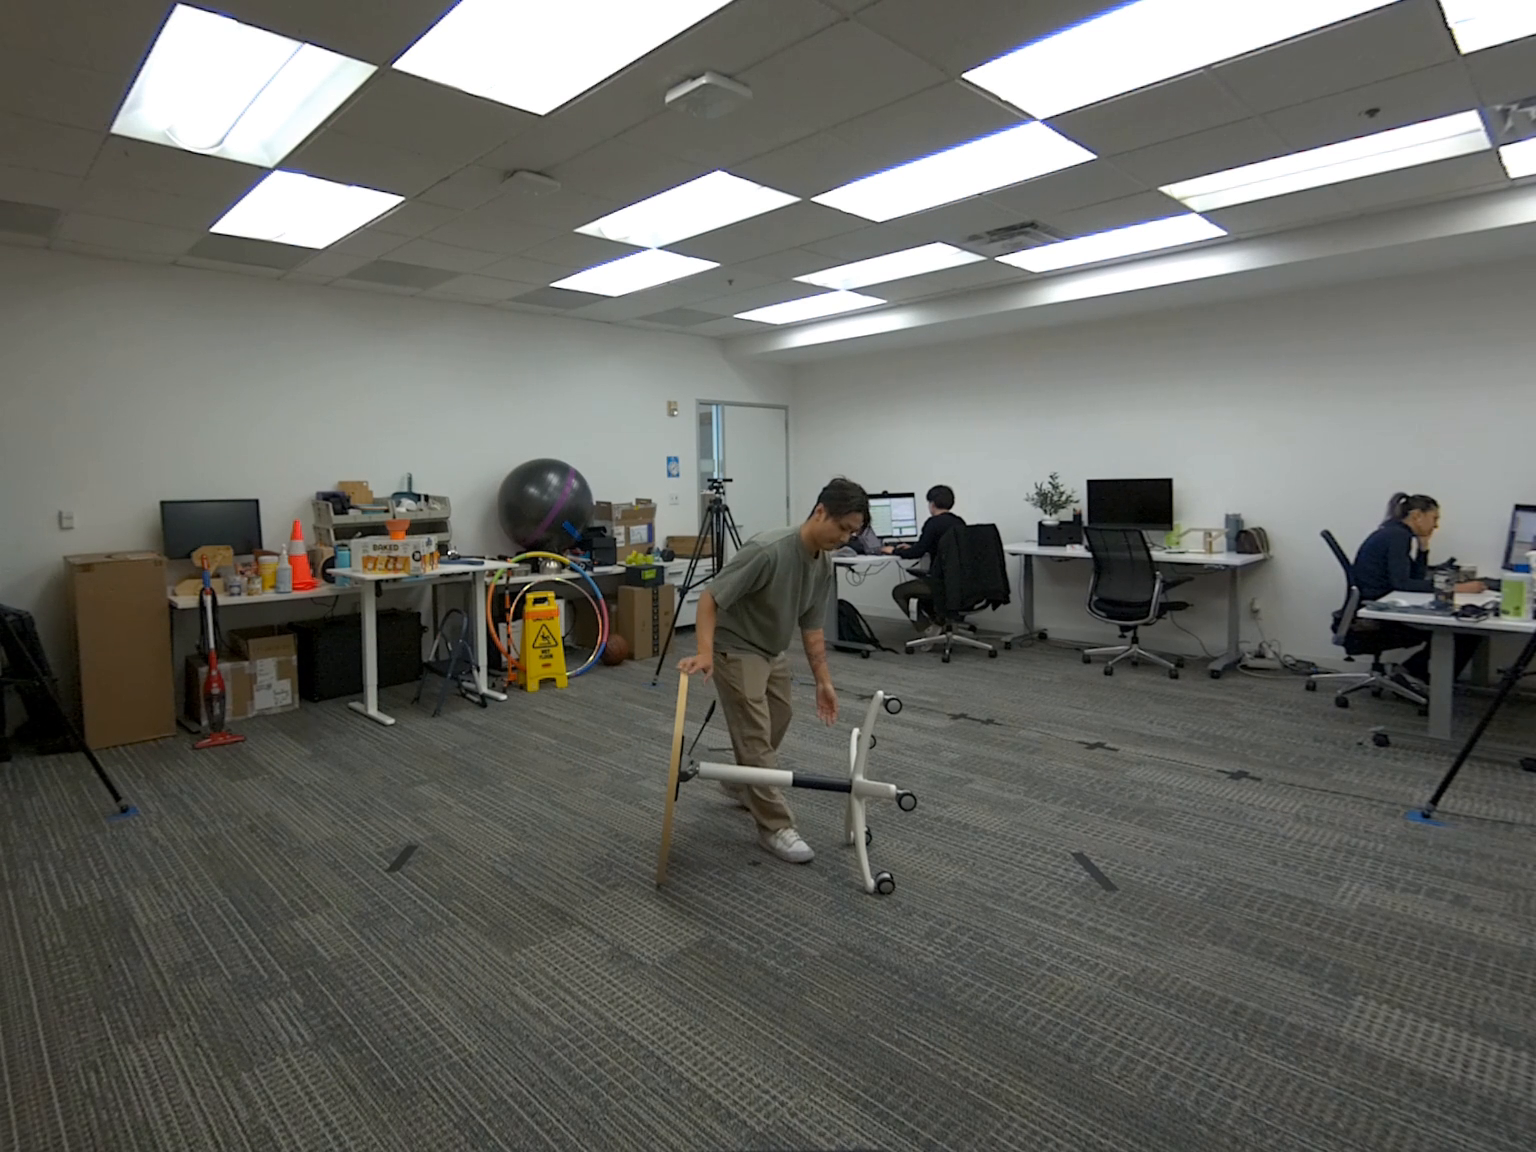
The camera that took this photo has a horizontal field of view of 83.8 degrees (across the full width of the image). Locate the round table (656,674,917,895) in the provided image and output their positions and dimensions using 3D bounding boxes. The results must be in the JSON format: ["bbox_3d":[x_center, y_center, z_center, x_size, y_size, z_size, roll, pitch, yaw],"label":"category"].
[{"bbox_3d":[0.048,0.713,3.034,0.784,0.783,0.790,6,4,-4],"label":"round table"}]
